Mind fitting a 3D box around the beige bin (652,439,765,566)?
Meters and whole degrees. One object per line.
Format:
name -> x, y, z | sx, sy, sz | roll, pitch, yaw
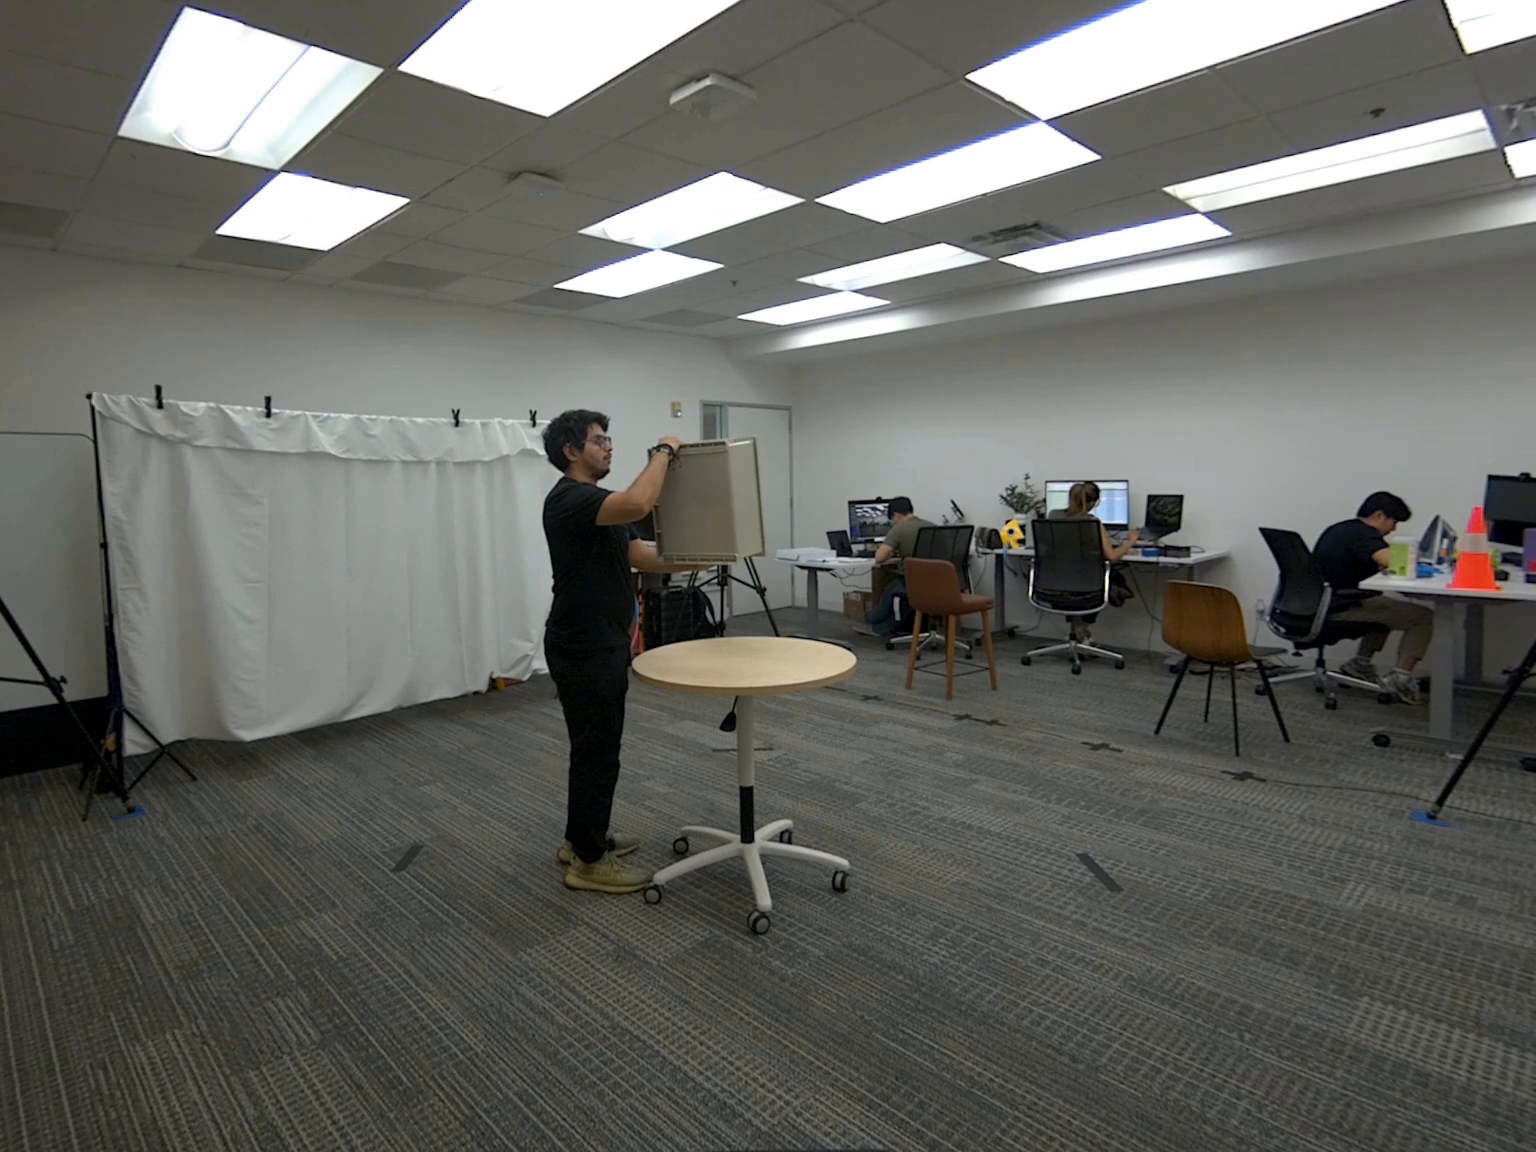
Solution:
beige bin -> -0.222, -0.262, 2.998 | 0.388, 0.419, 0.185 | 2, 10, 35
